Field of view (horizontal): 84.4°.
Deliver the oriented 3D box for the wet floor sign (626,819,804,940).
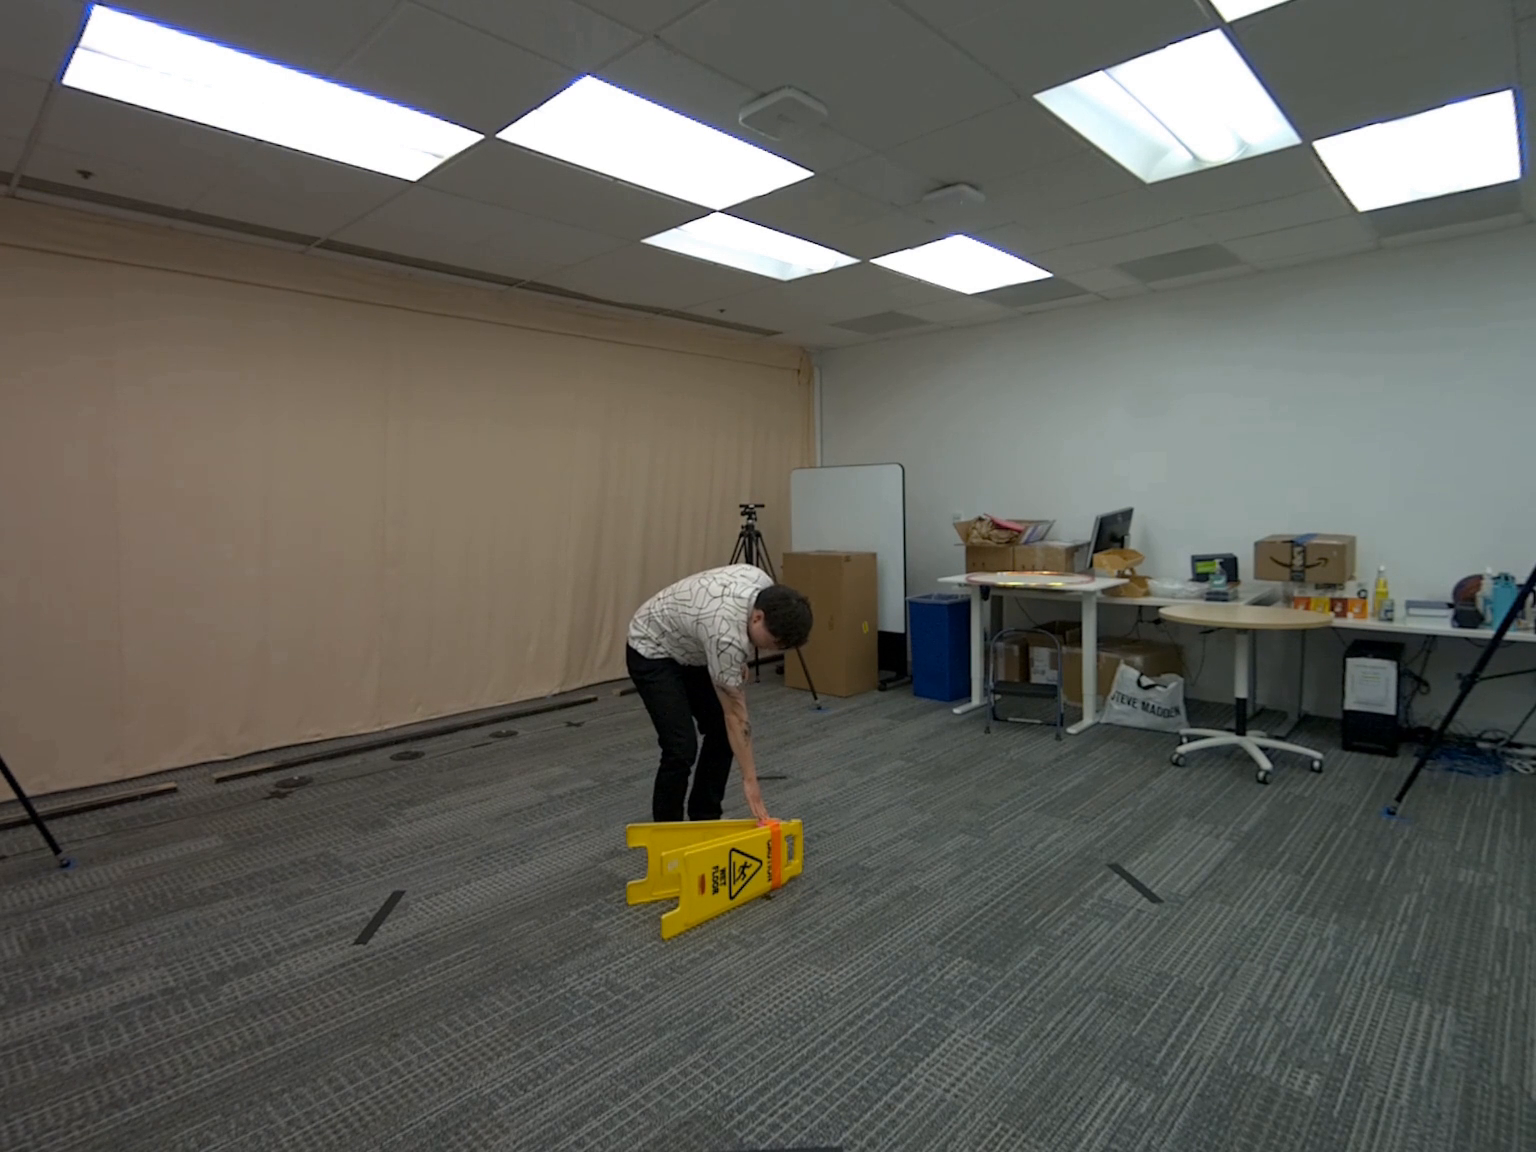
[{"bbox_3d":[-0.147,1.007,2.986,0.629,0.282,0.298,-1,3,-29],"label":"wet floor sign"}]
